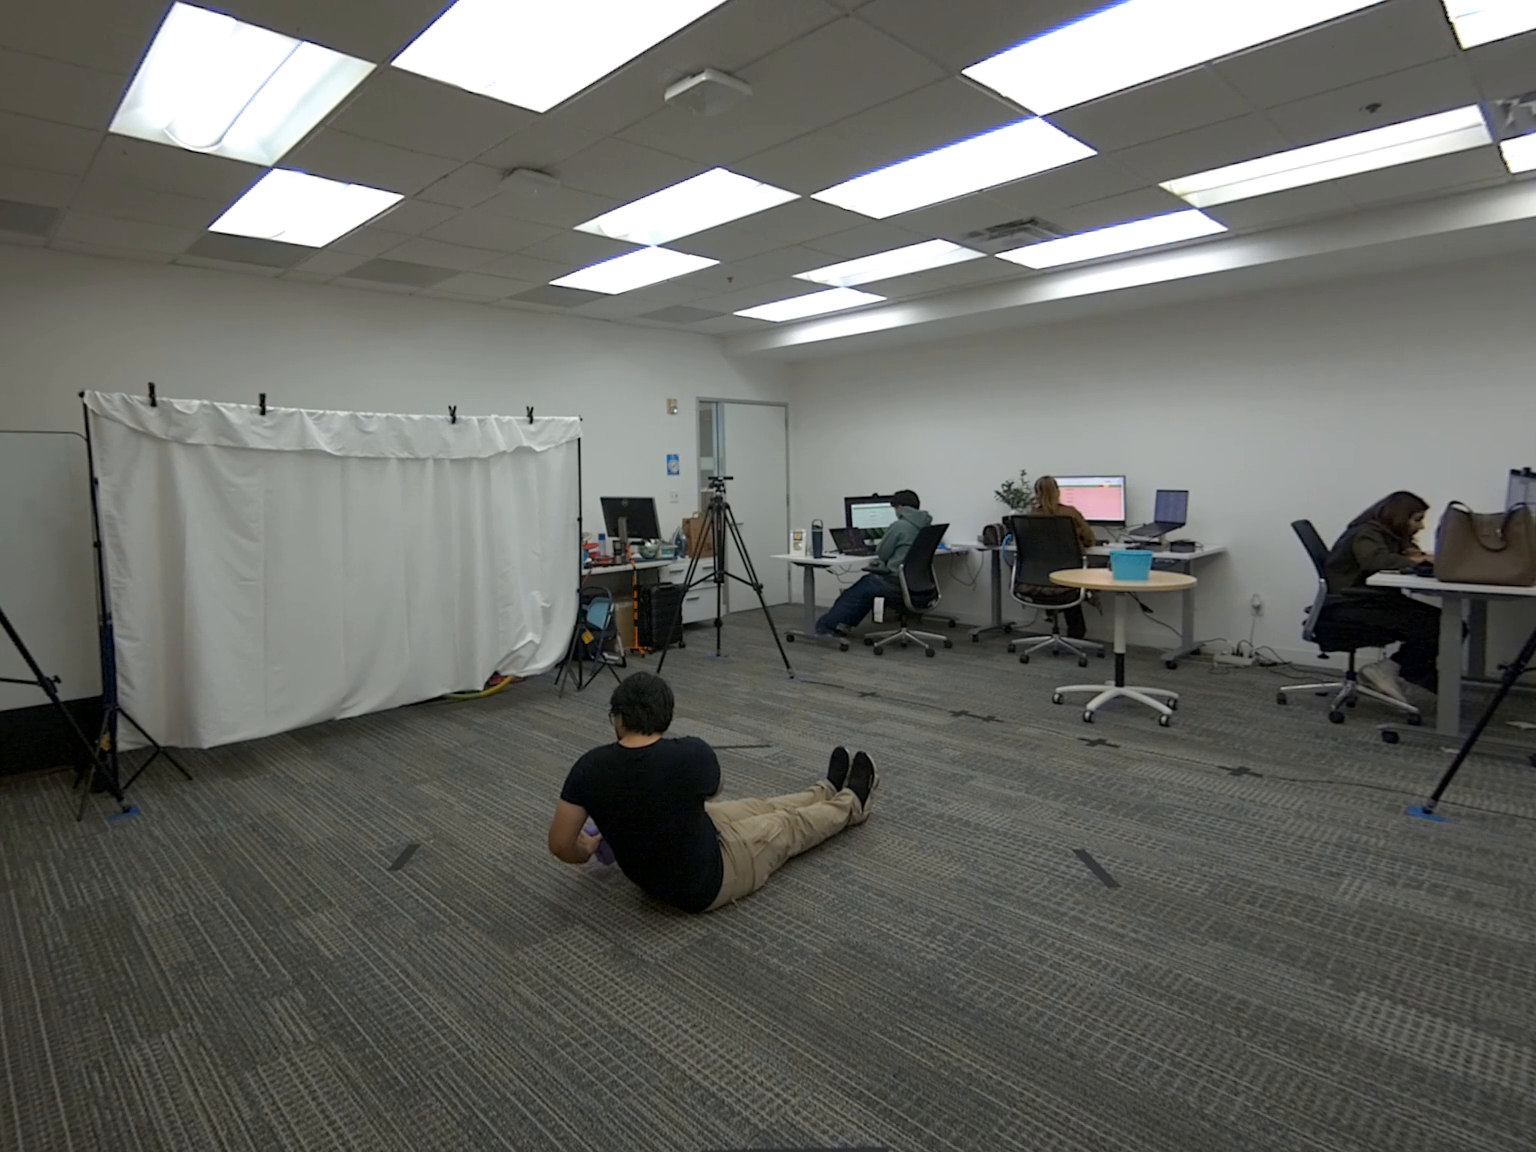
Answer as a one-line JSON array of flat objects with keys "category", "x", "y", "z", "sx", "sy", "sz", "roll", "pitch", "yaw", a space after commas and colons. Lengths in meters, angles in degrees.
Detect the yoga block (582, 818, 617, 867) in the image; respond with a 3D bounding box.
[{"category": "yoga block", "x": -0.527, "y": 0.911, "z": 3.069, "sx": 0.227, "sy": 0.147, "sz": 0.078, "roll": -25, "pitch": 11, "yaw": -15}]
